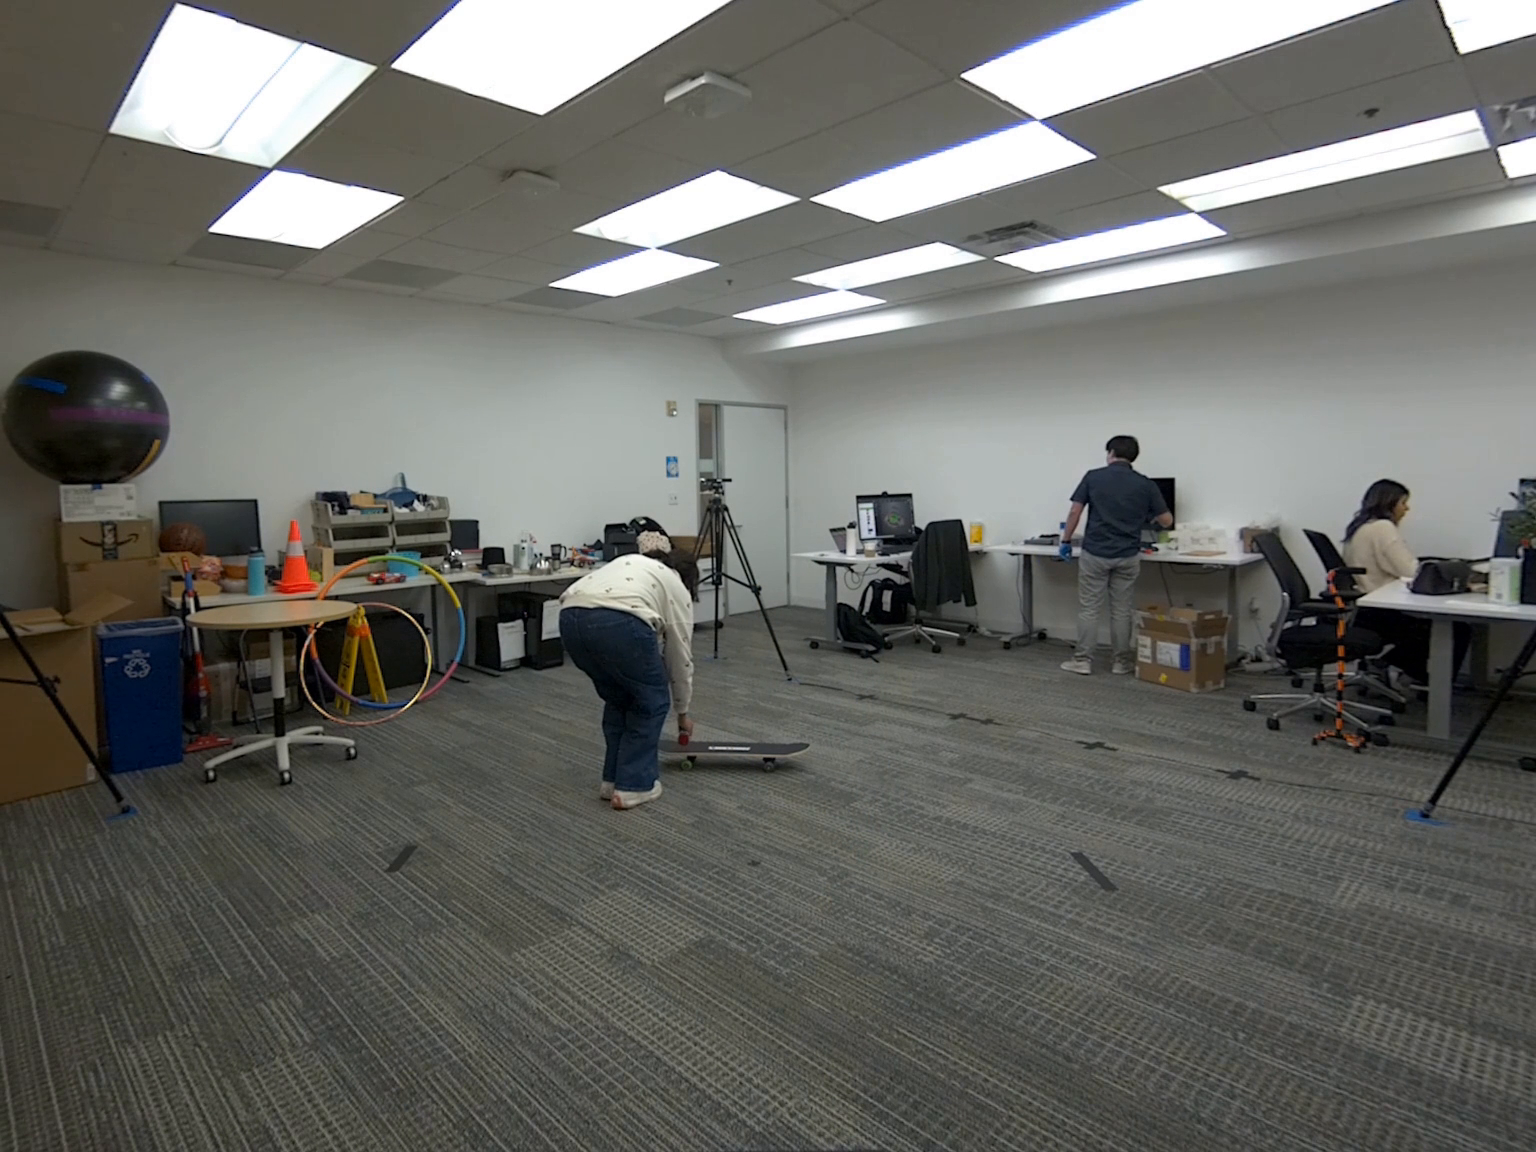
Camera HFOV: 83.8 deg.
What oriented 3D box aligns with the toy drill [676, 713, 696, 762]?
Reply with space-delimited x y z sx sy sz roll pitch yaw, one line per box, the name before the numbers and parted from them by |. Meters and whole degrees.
toy drill | -0.397 0.769 4.113 0.061 0.167 0.149 7 24 -3
